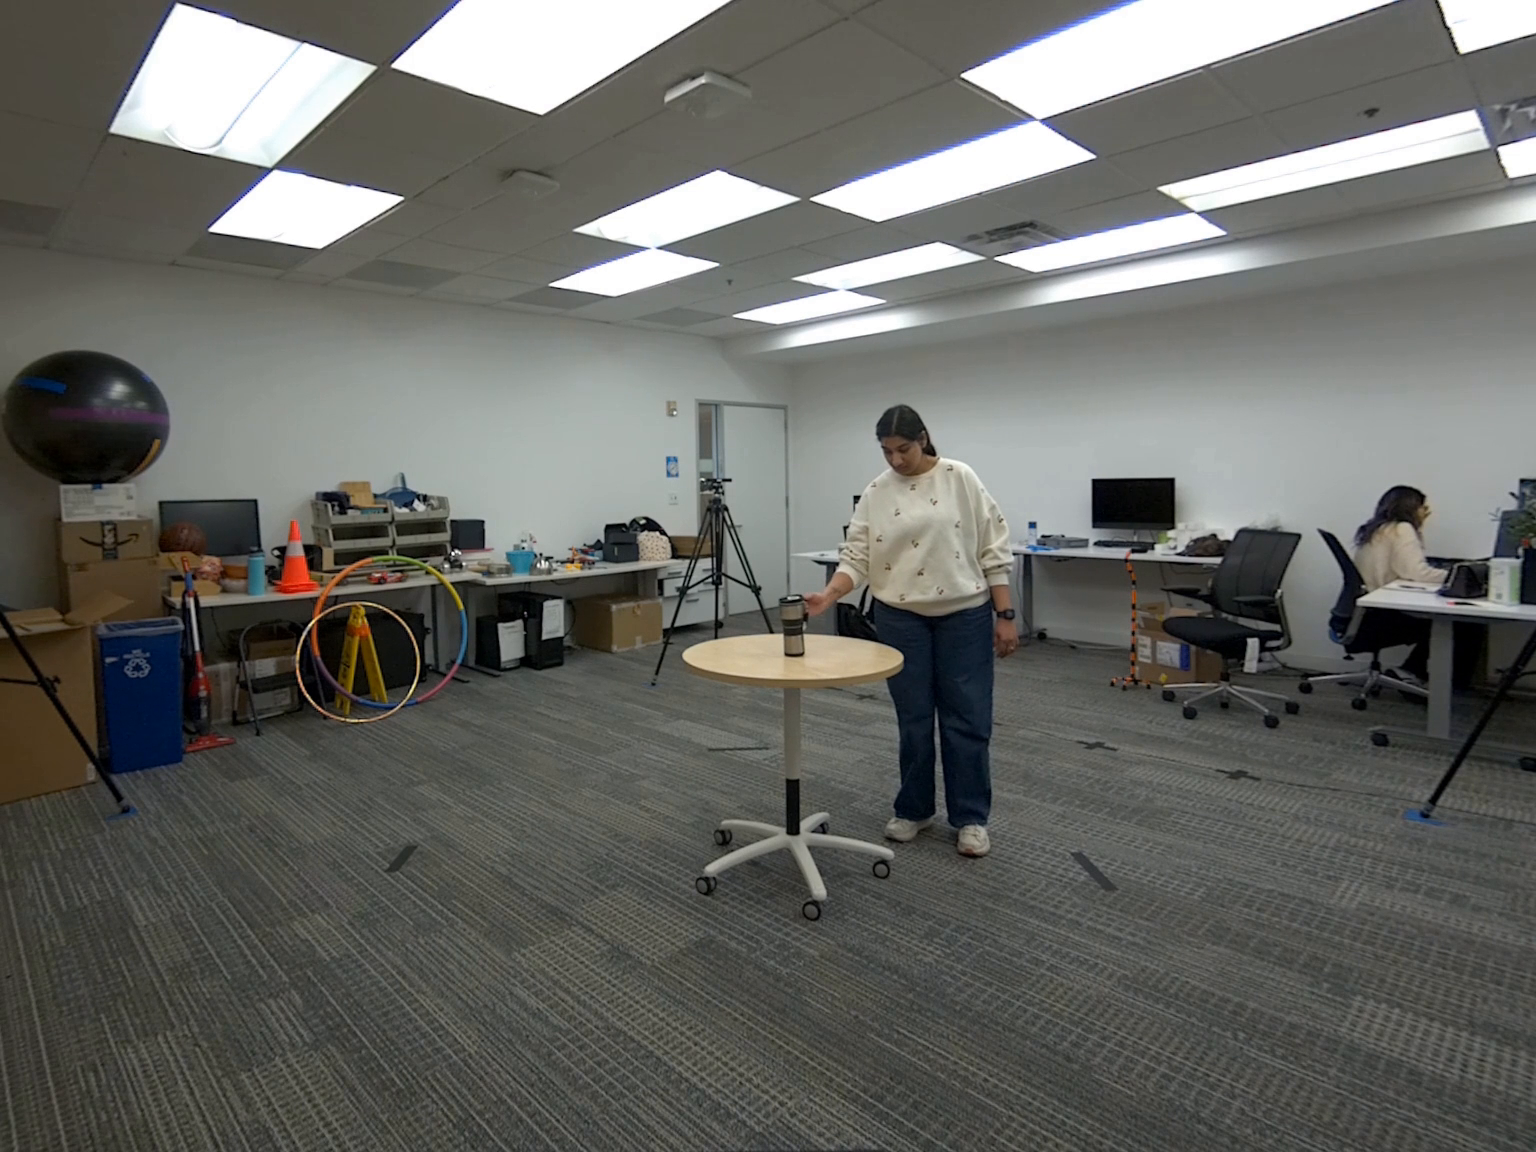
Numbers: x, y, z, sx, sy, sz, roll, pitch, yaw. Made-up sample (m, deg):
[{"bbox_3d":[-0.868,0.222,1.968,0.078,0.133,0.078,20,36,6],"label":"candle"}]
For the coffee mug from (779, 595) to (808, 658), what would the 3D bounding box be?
[{"bbox_3d":[0.110,0.172,2.962,0.119,0.202,0.090,-10,7,-32],"label":"coffee mug"}]
